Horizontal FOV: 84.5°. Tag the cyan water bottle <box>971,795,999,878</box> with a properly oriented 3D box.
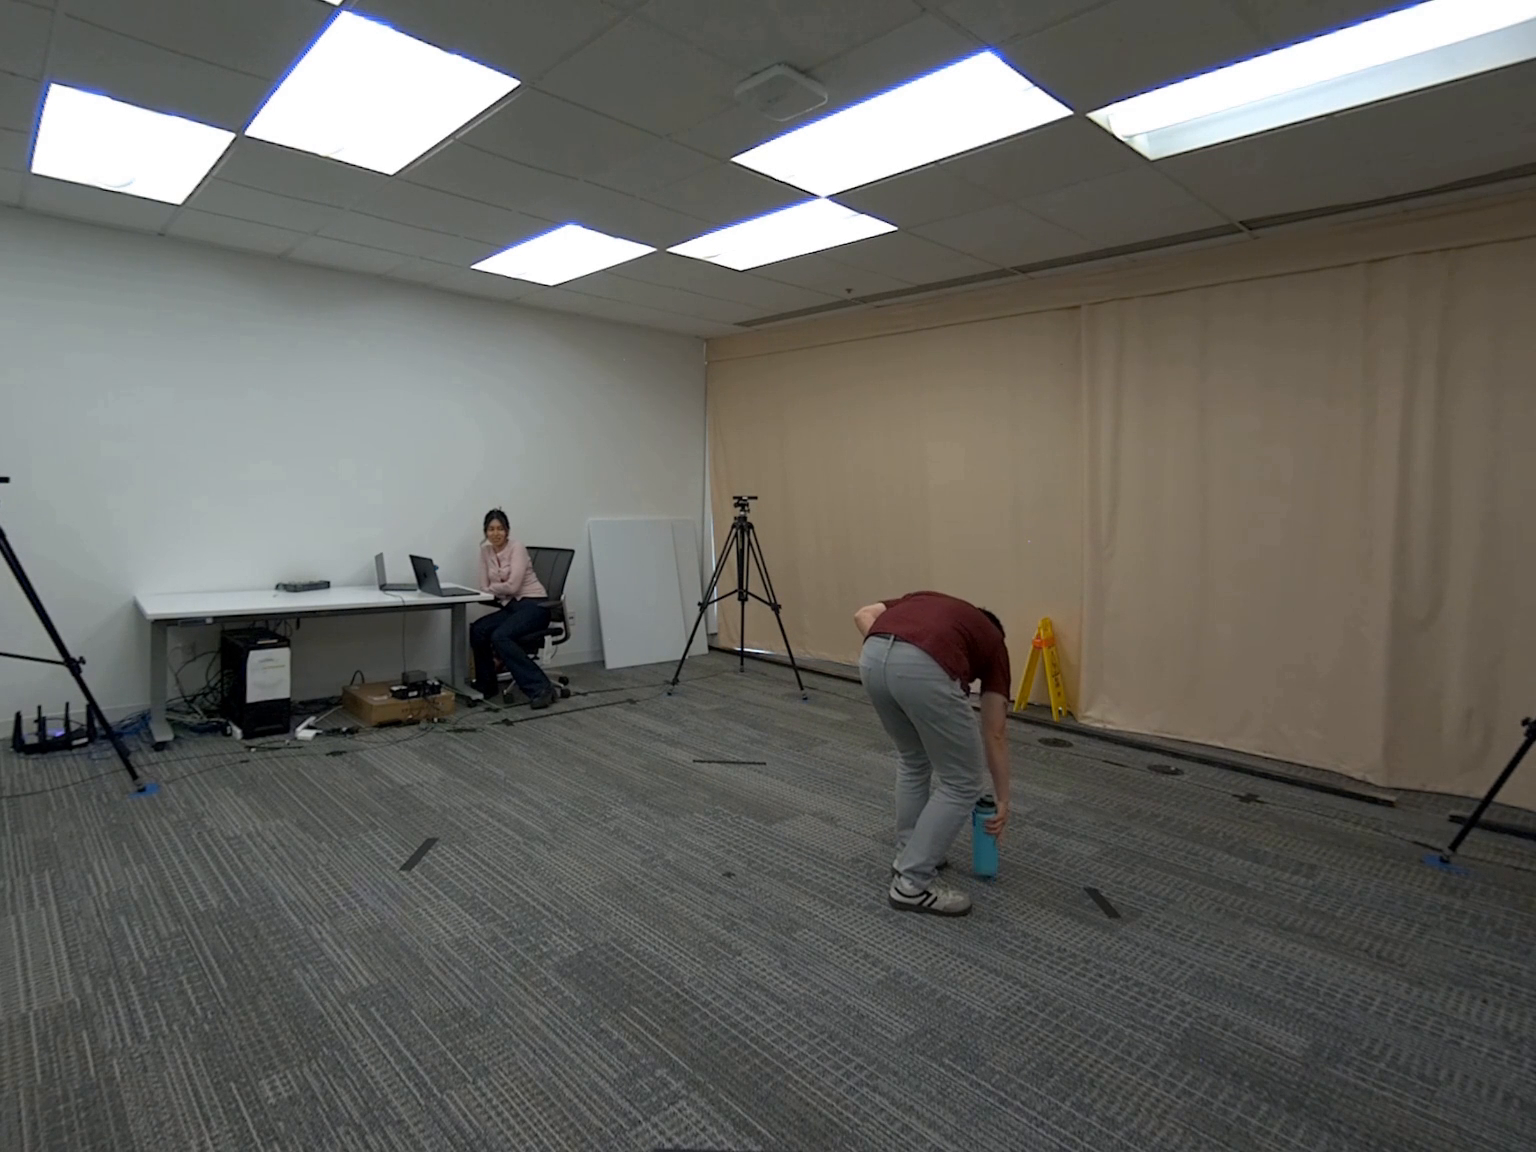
[{"bbox_3d":[0.796,0.956,3.121,0.092,0.283,0.092,-2,3,-1],"label":"cyan water bottle"}]
